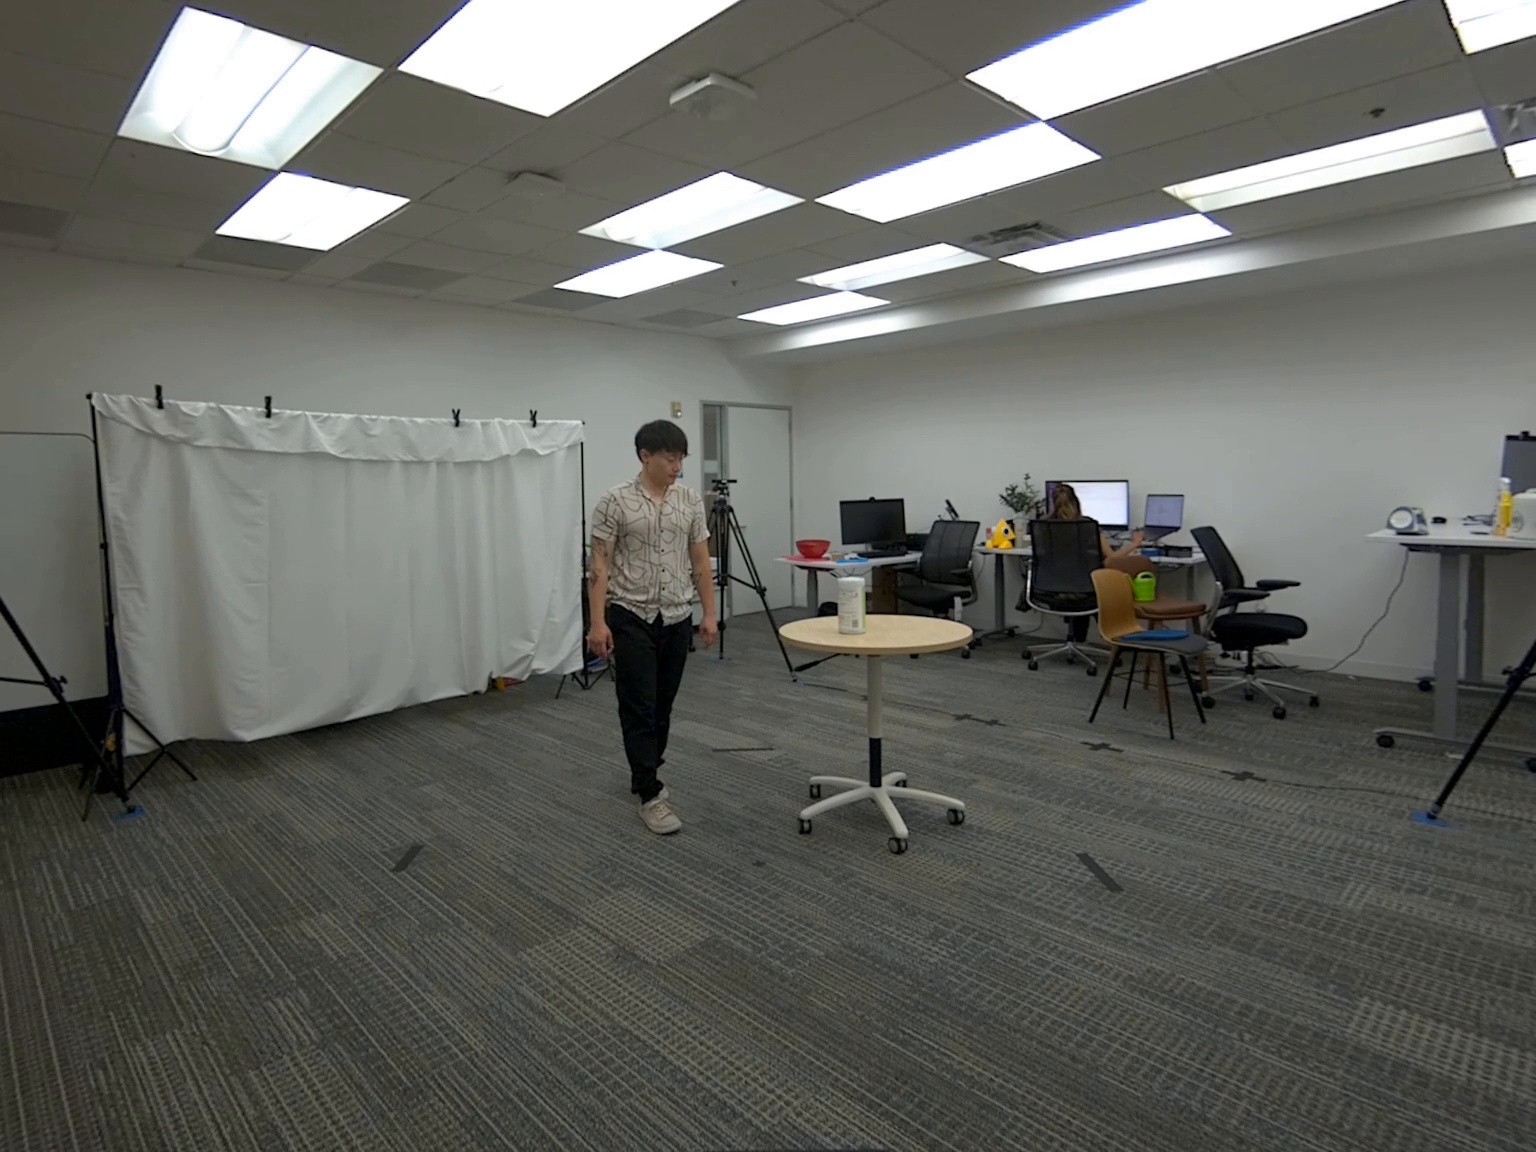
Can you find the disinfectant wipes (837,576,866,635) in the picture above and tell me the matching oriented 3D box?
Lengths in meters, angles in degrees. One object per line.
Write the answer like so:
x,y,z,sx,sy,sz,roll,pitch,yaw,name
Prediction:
0.336,0.118,3.394,0.118,0.217,0.118,-2,3,-2,disinfectant wipes
